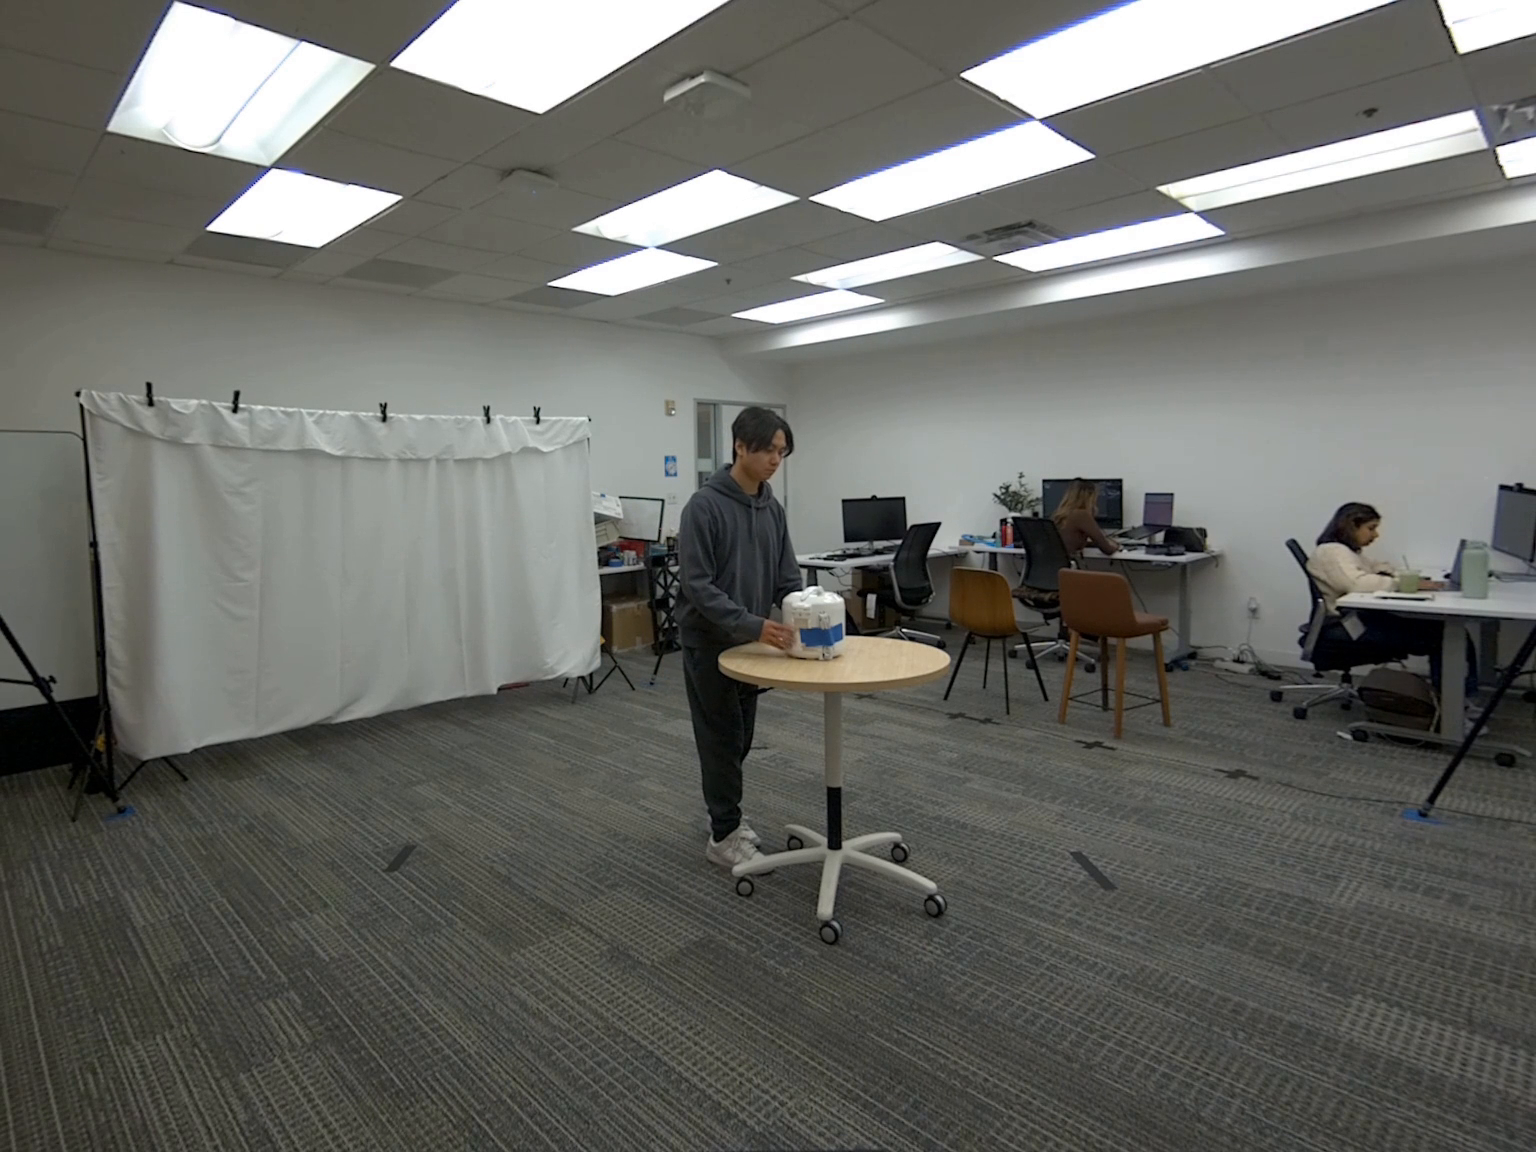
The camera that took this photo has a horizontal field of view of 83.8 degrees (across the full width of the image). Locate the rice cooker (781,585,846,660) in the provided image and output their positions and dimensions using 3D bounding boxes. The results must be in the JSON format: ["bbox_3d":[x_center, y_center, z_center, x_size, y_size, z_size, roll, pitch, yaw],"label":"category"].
[{"bbox_3d":[0.163,0.156,2.871,0.223,0.232,0.216,1,5,28],"label":"rice cooker"}]
